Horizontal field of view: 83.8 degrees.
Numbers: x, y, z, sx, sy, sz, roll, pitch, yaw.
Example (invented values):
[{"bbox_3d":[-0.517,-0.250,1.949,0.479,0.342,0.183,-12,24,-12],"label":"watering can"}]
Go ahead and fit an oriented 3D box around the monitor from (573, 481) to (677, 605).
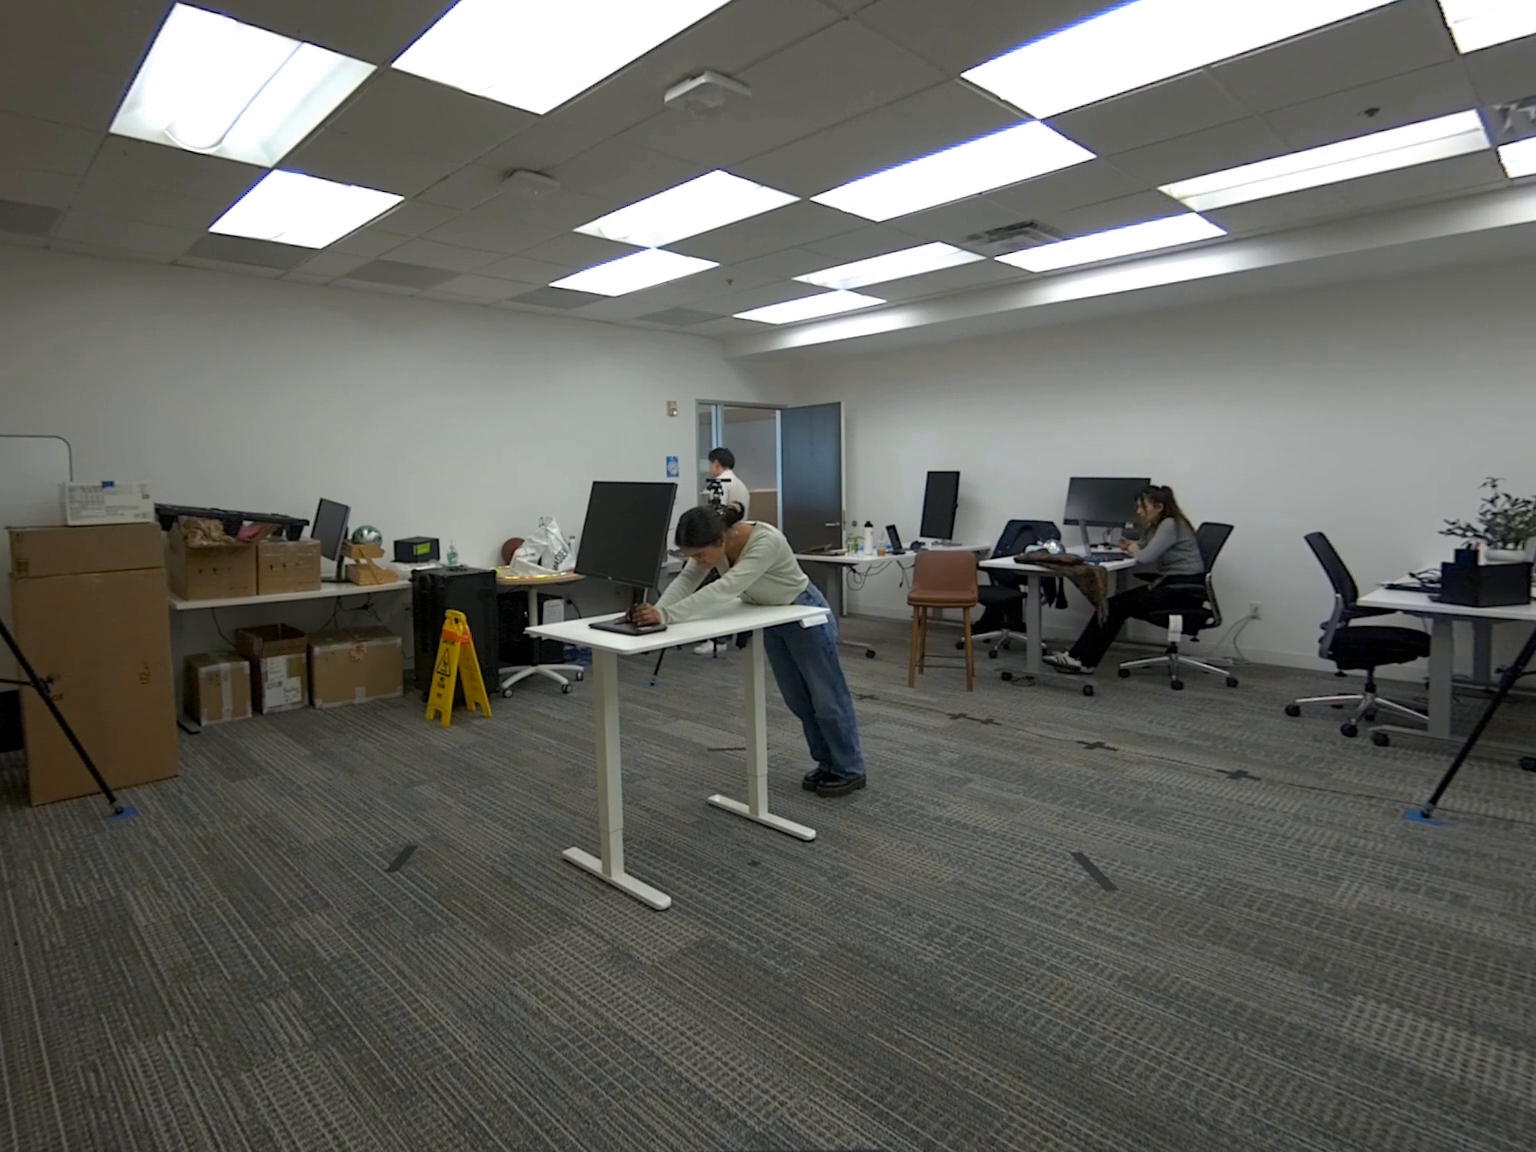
[{"bbox_3d":[-0.481,-0.067,2.985,0.182,0.521,0.556,-2,5,-42],"label":"monitor"}]
